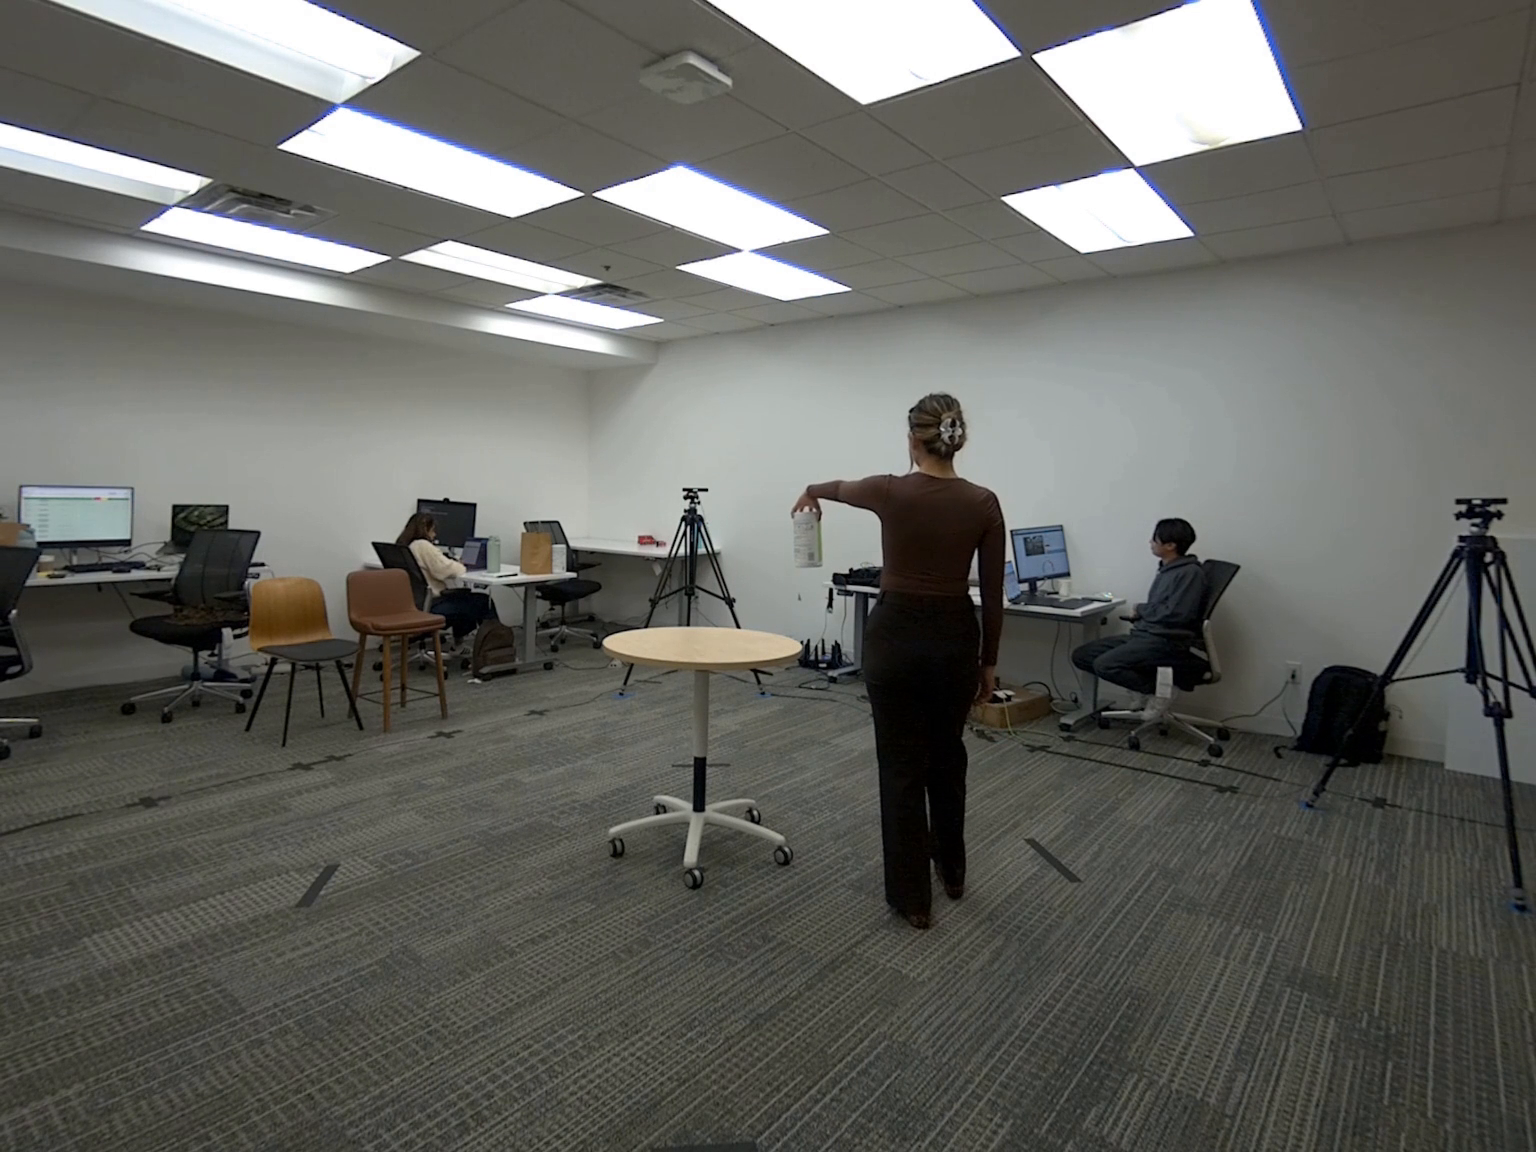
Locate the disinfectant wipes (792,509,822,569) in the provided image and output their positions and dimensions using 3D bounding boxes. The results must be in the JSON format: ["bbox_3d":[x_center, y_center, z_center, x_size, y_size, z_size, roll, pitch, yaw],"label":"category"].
[{"bbox_3d":[0.149,-0.145,3.315,0.118,0.217,0.118,-3,3,-2],"label":"disinfectant wipes"}]
